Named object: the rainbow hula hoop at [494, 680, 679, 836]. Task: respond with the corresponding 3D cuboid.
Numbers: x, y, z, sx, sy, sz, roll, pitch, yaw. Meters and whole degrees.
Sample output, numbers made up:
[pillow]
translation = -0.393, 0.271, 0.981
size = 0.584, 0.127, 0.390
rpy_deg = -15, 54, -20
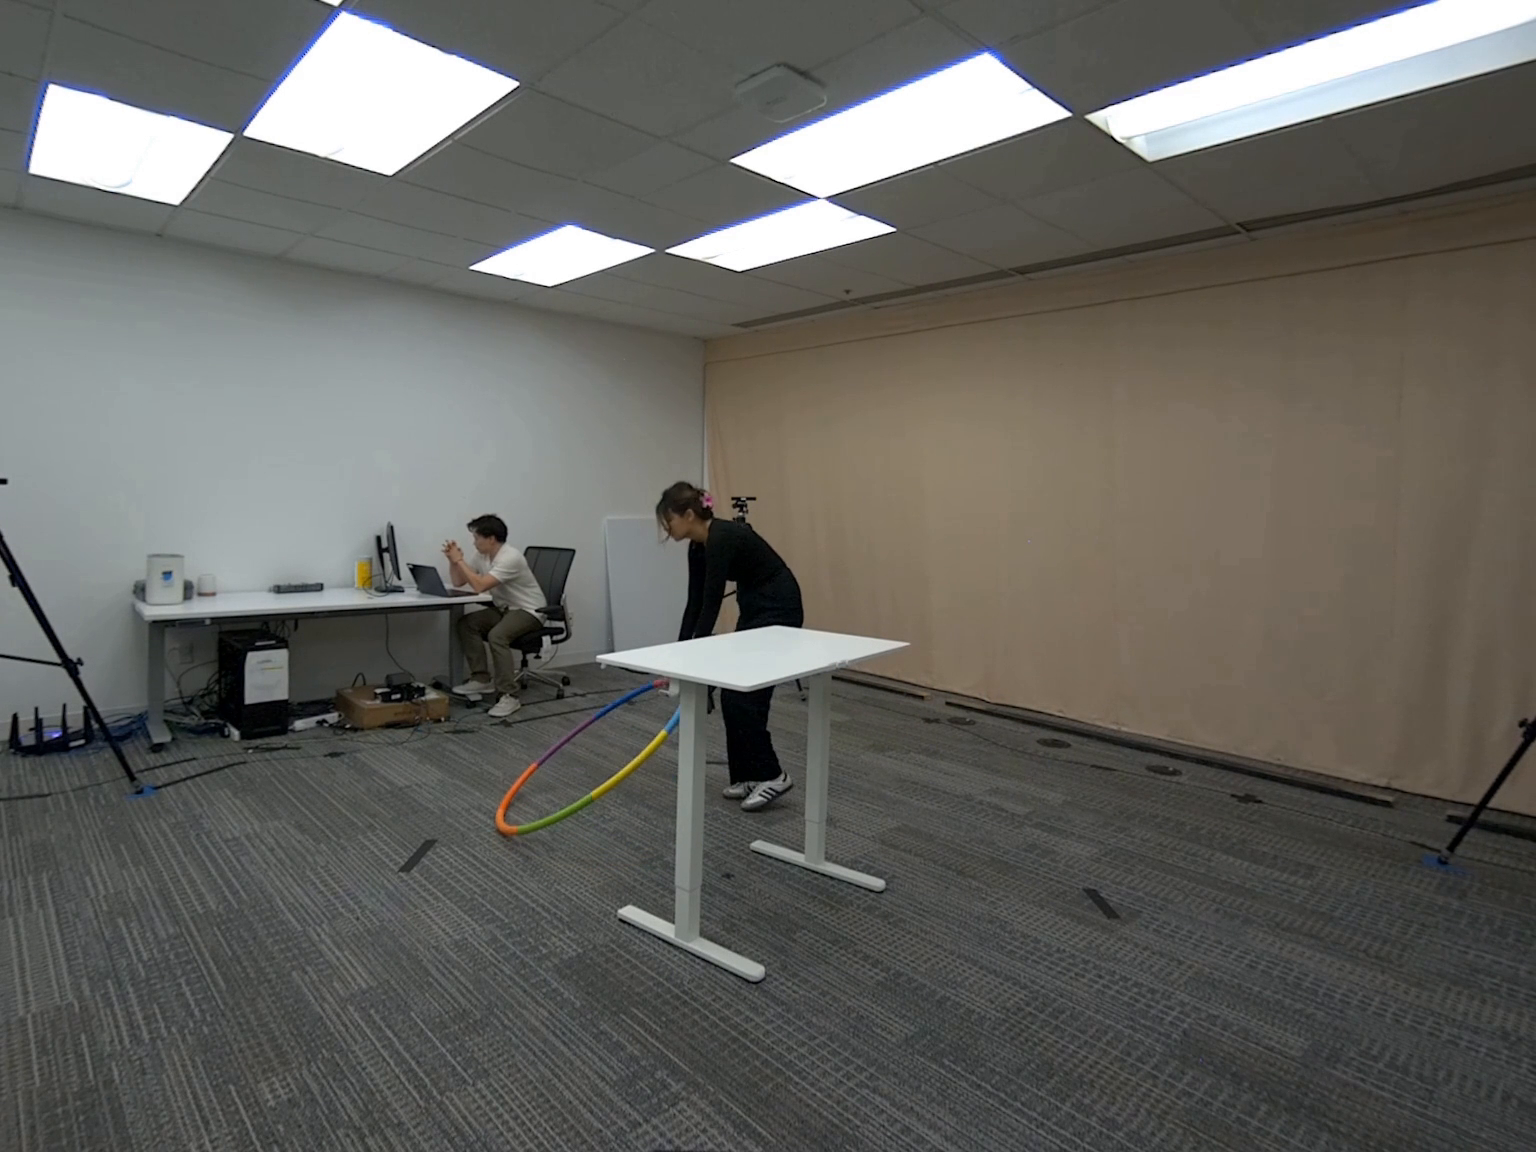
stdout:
[rainbow hula hoop]
translation = -0.776, 0.765, 3.638
size = 0.980, 0.035, 0.989
rpy_deg = -31, 14, 6
